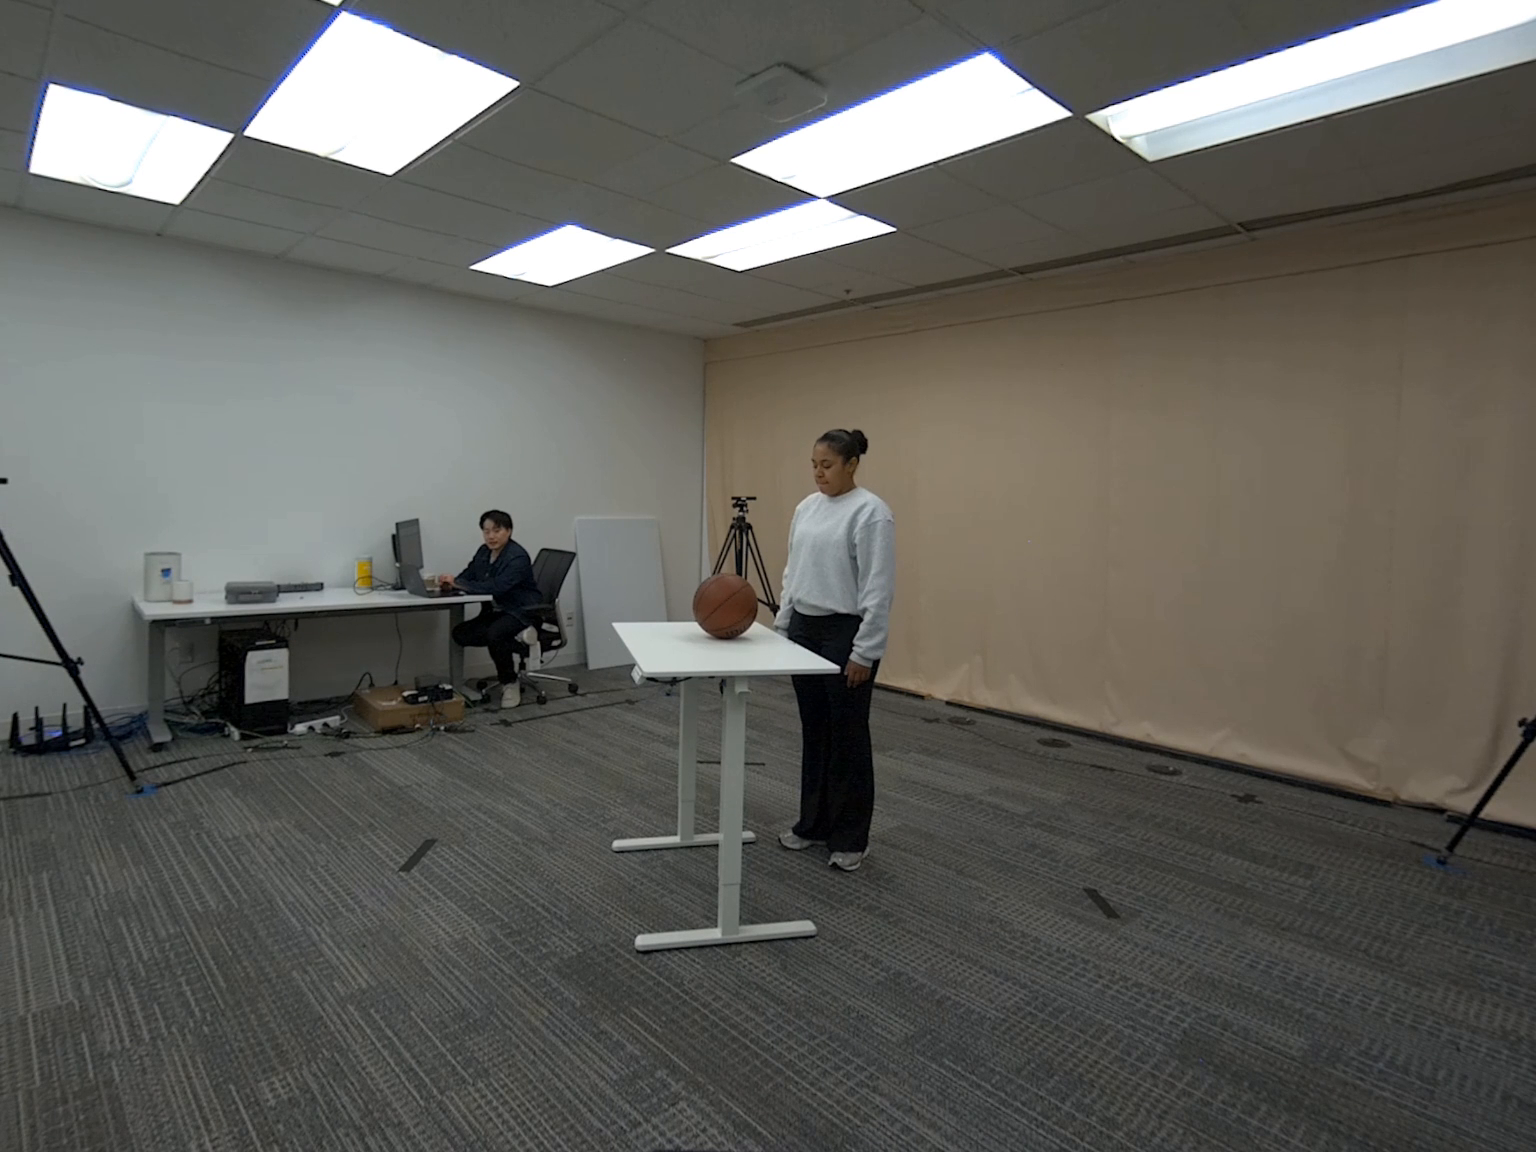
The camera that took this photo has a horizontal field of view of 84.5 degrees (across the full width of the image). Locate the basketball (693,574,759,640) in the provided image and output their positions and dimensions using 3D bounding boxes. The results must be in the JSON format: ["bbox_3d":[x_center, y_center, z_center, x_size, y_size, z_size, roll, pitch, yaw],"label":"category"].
[{"bbox_3d":[-0.160,0.108,3.060,0.236,0.235,0.237,1,4,-1],"label":"basketball"}]
